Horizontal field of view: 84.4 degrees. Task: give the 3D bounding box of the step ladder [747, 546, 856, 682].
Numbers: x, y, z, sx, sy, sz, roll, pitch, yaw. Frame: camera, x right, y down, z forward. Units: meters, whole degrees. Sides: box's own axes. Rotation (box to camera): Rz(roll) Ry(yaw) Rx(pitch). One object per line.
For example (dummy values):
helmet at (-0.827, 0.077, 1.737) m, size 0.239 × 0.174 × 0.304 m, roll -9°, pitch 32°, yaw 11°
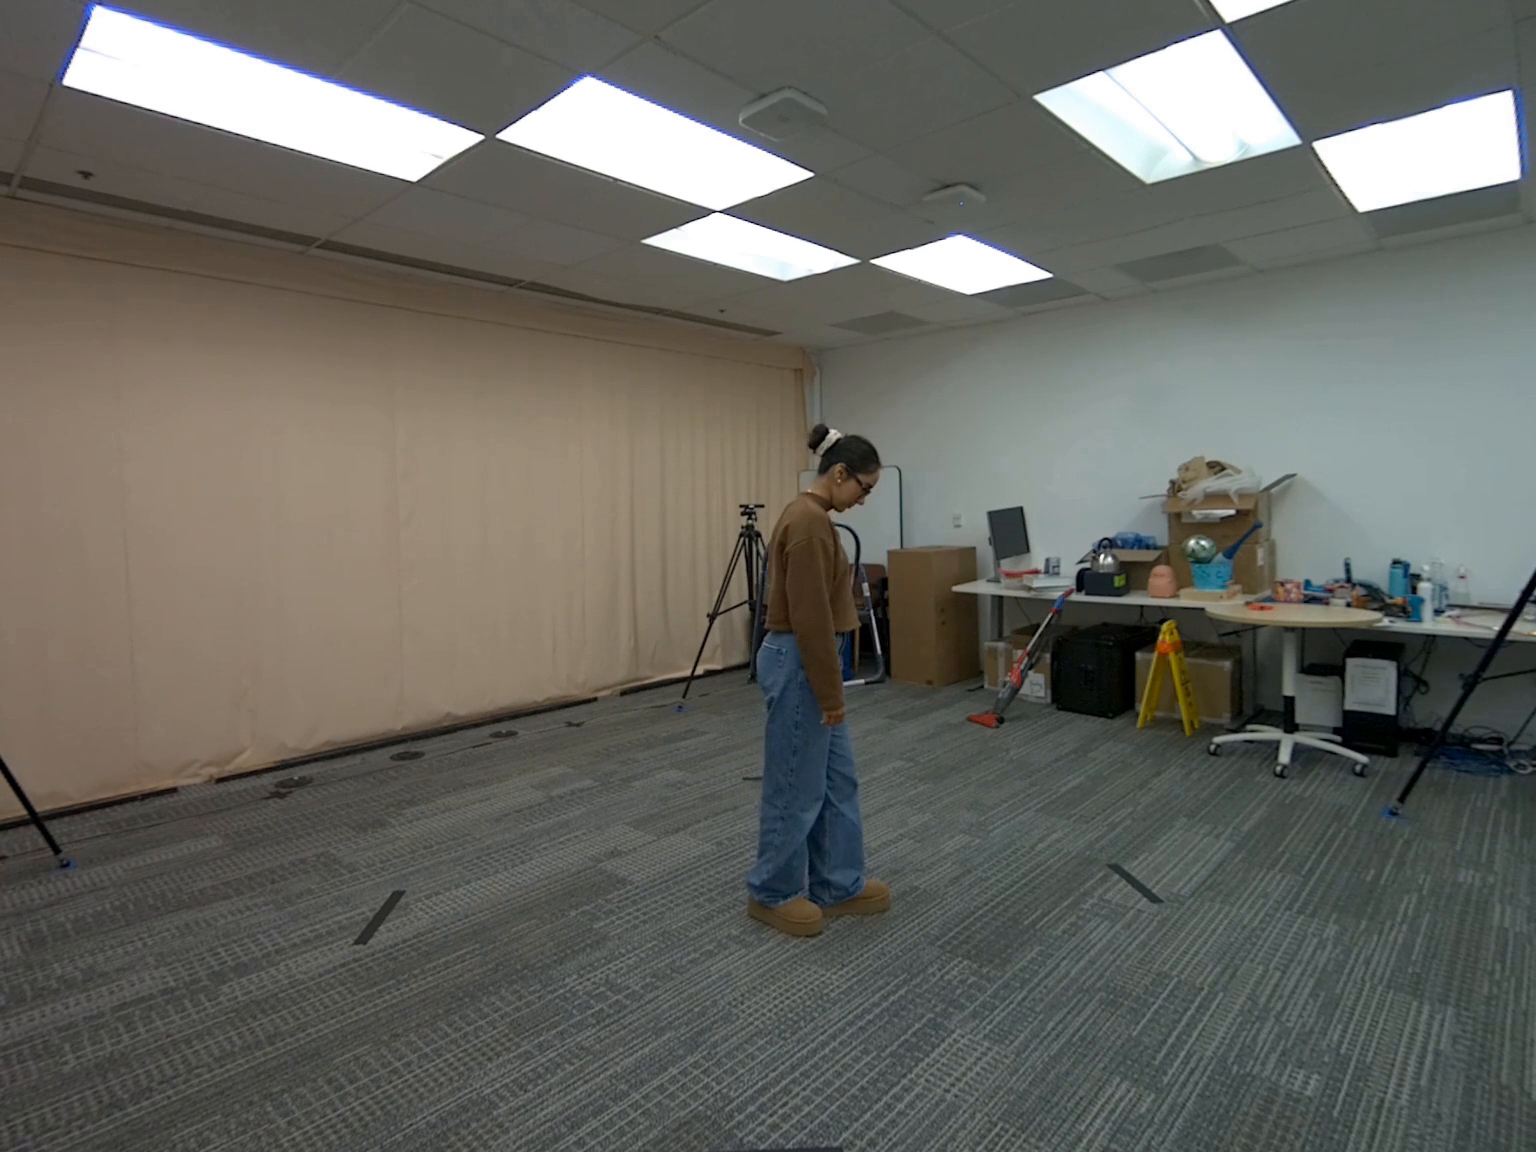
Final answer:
step ladder at (0.166, 0.095, 3.159) m, size 0.422 × 0.604 × 0.357 m, roll -5°, pitch 4°, yaw -22°
